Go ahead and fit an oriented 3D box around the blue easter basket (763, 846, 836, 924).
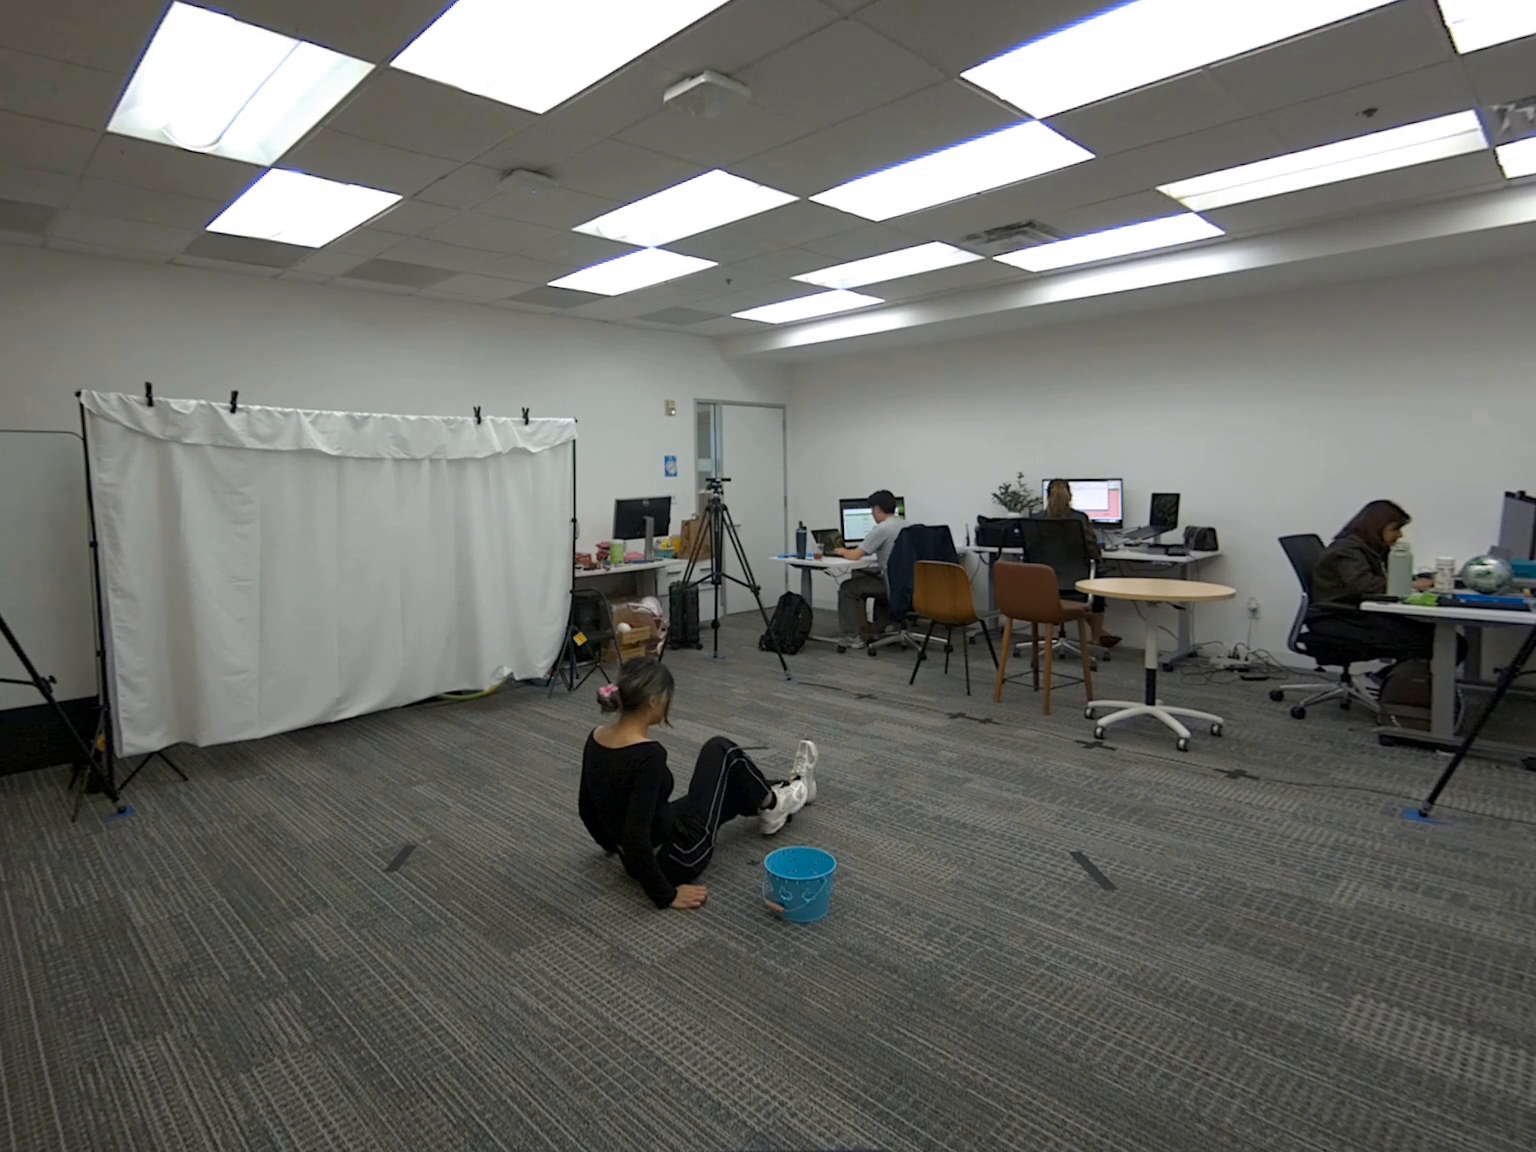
[{"bbox_3d":[0.098,0.994,2.772,0.243,0.155,0.245,-1,5,-2],"label":"blue easter basket"}]
